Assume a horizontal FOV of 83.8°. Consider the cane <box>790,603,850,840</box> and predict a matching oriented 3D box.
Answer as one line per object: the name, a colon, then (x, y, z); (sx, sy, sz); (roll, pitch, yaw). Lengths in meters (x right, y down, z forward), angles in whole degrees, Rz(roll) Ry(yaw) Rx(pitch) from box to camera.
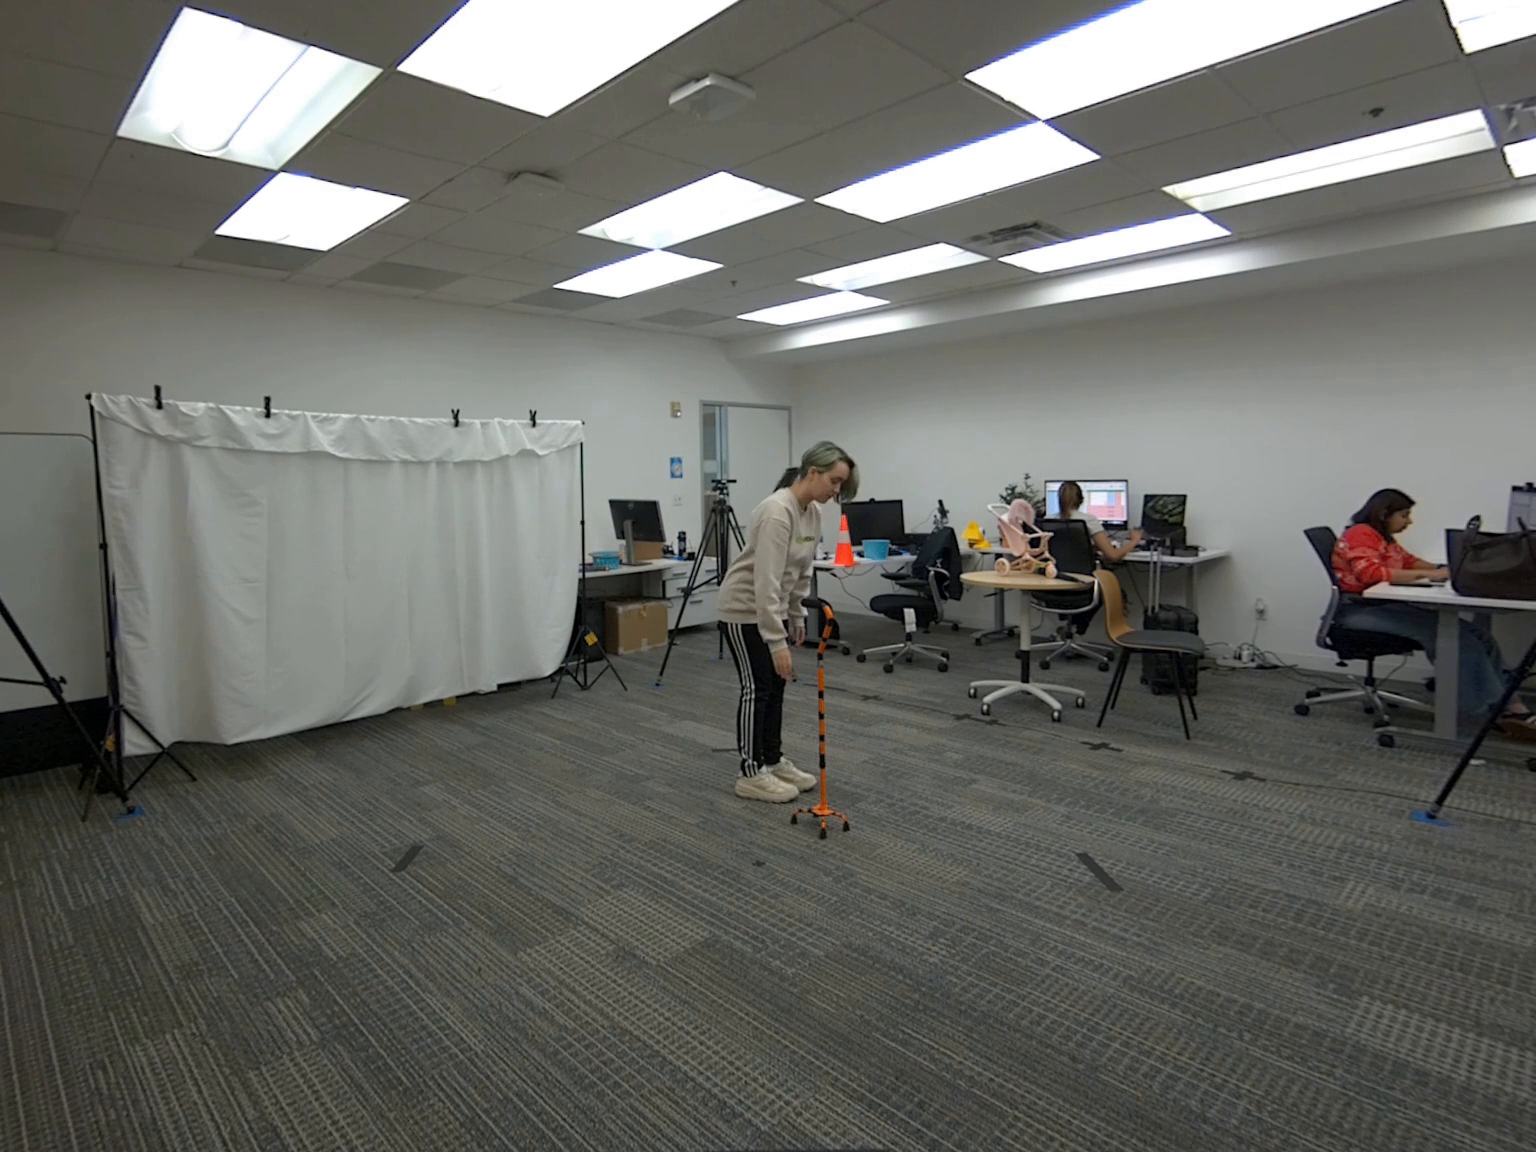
cane: (0.205, 0.554, 3.403); (0.148, 0.903, 0.213); (-4, 6, -35)
